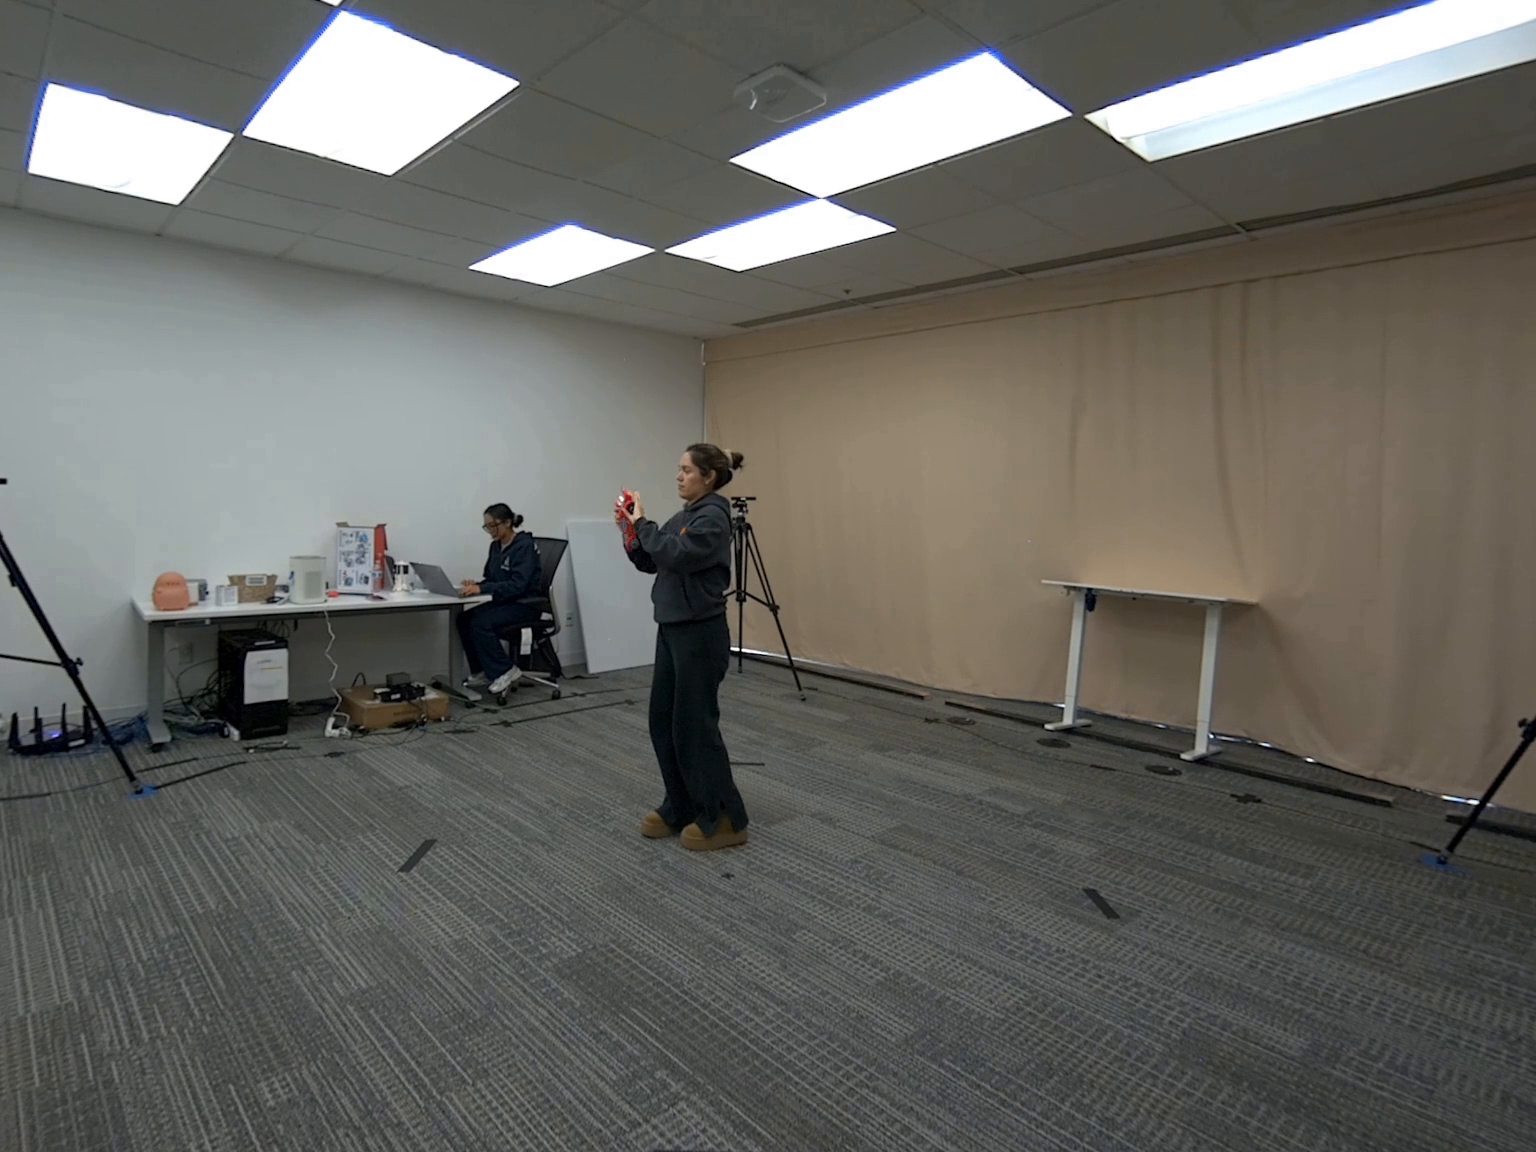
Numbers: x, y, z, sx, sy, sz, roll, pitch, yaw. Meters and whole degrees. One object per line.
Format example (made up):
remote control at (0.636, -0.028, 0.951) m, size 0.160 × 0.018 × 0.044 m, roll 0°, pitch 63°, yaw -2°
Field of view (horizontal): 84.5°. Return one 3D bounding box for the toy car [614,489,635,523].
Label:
toy car at (-0.572, -0.242, 3.413) m, size 0.082 × 0.250 × 0.133 m, roll -12°, pitch 21°, yaw -12°
